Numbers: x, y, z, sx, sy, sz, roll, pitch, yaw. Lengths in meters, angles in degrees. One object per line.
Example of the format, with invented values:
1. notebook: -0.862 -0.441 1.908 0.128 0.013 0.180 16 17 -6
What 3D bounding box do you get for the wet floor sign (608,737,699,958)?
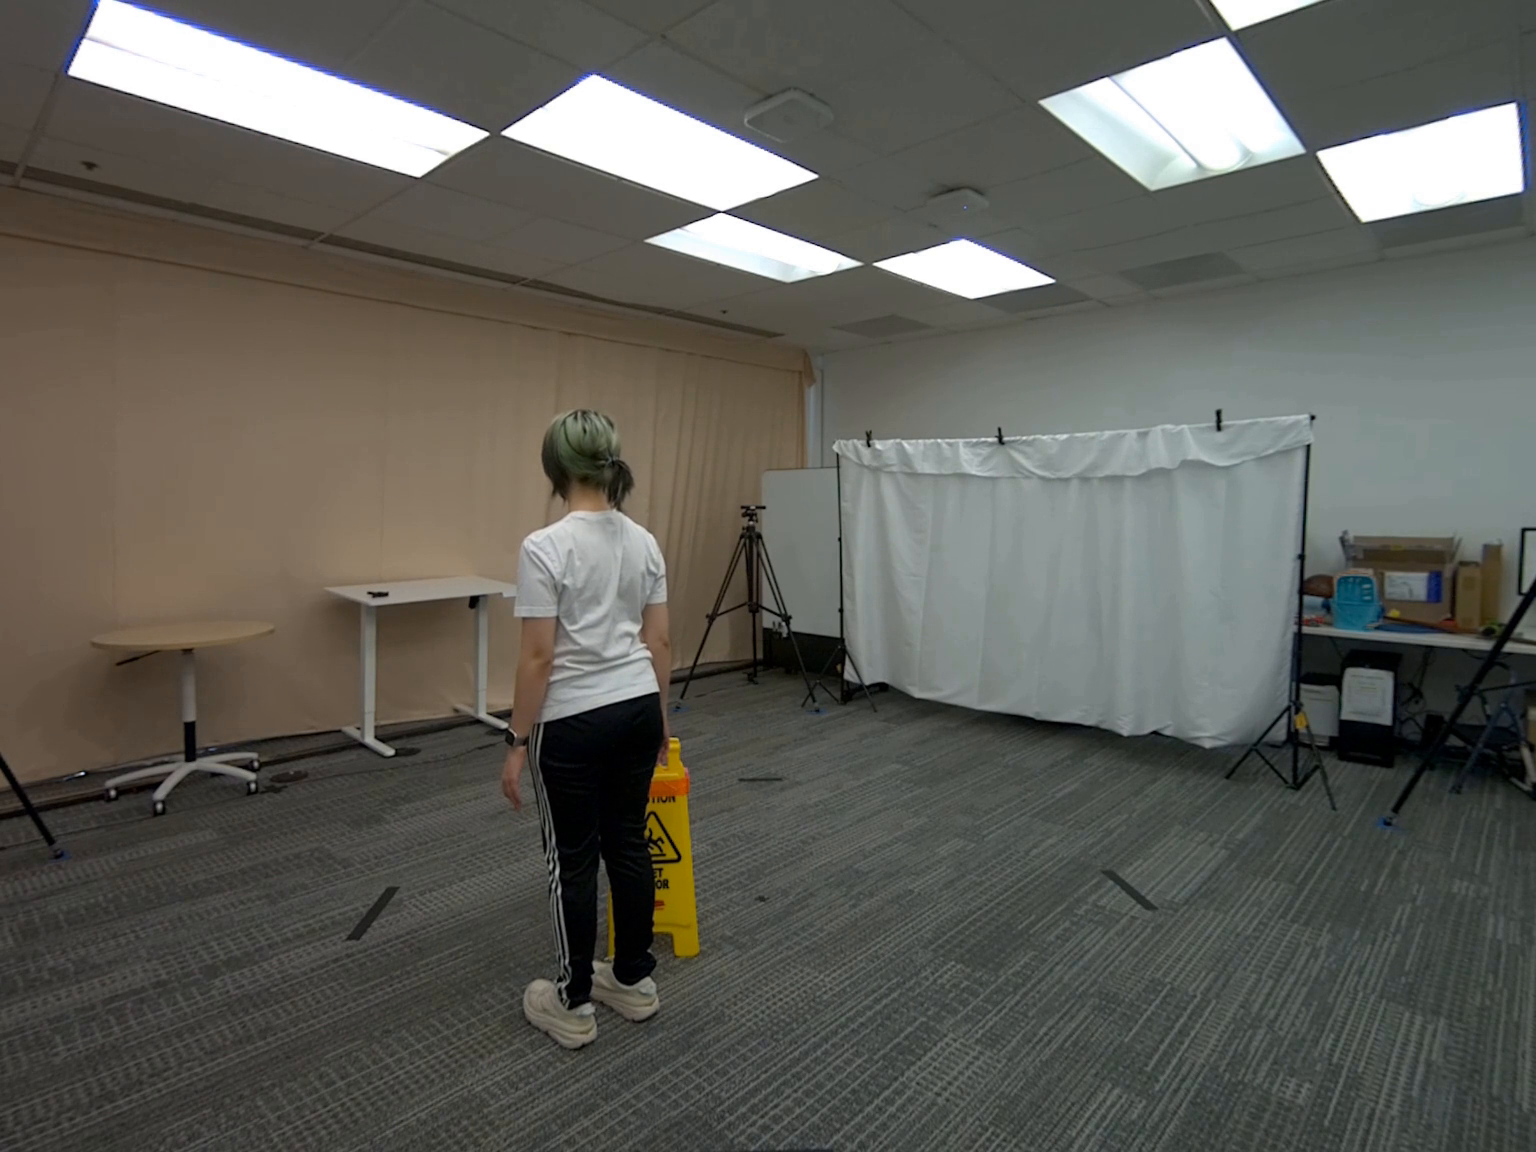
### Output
1. wet floor sign: -0.380 0.848 2.691 0.280 0.644 0.293 -1 4 -8
